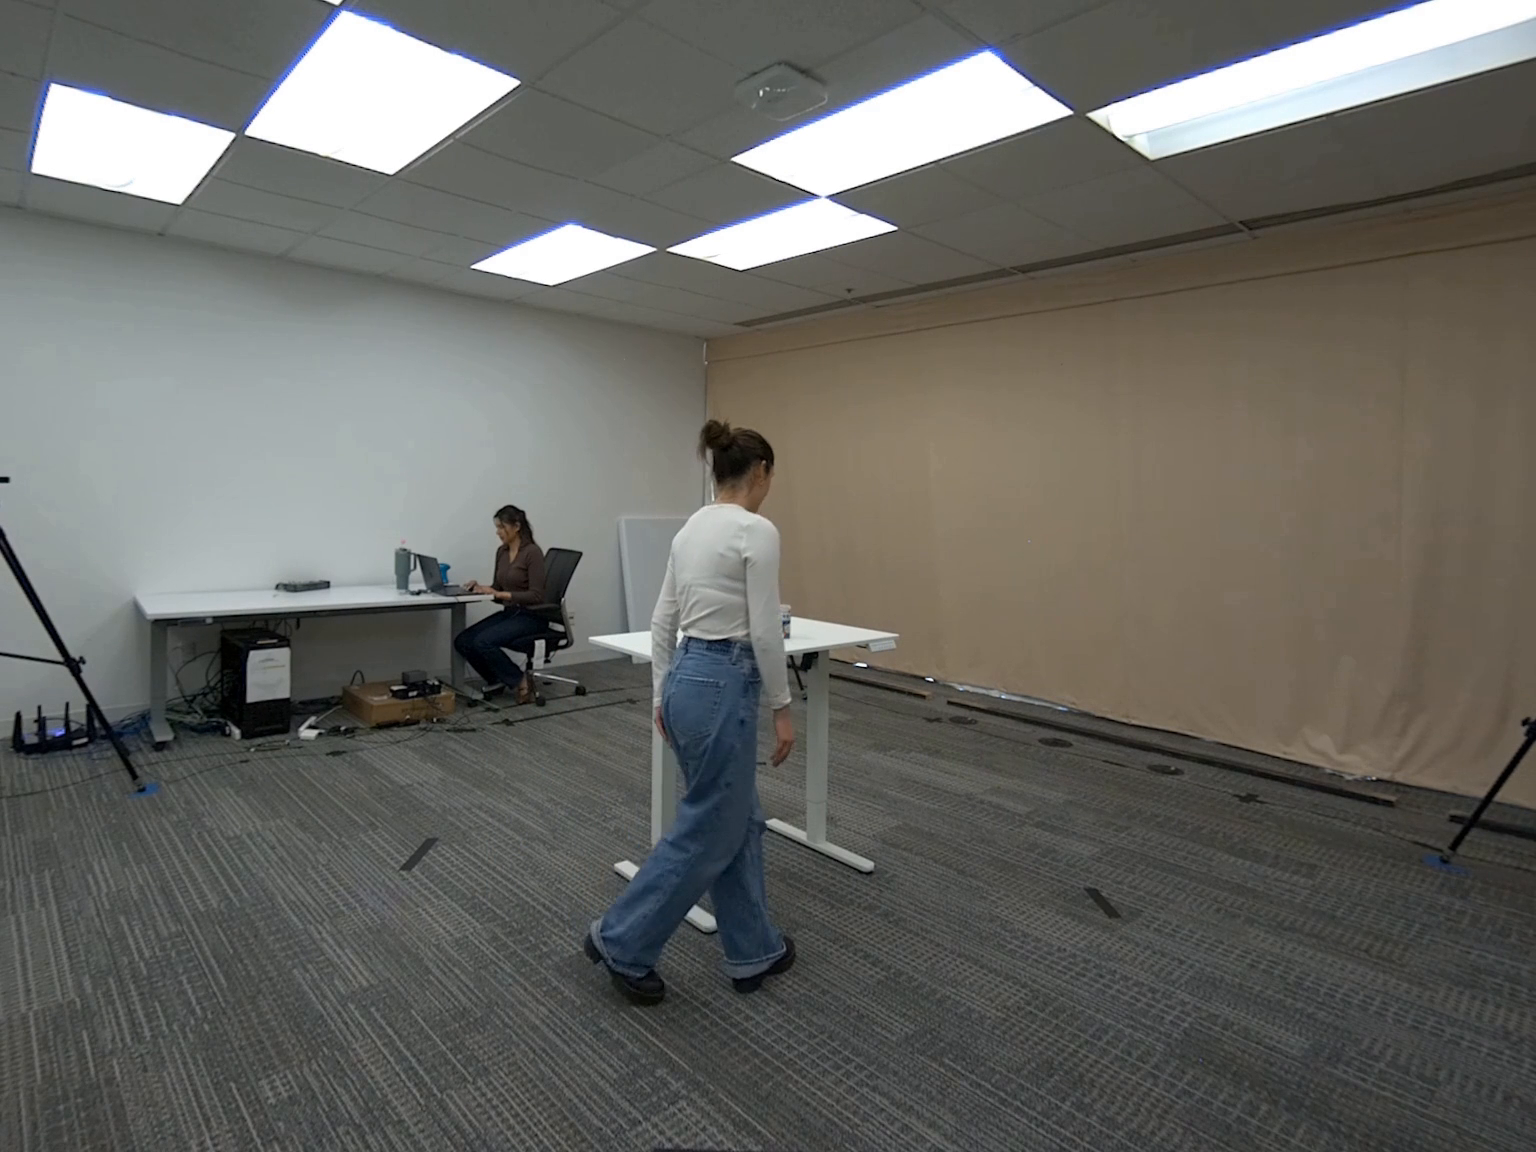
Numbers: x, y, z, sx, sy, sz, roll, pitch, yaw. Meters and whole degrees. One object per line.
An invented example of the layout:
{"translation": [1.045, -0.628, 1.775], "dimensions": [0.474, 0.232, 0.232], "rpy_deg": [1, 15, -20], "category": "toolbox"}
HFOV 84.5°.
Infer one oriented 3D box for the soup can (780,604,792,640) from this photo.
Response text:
{"translation": [0.046, 0.172, 3.063], "dimensions": [0.067, 0.121, 0.067], "rpy_deg": [1, 5, -1], "category": "soup can"}
